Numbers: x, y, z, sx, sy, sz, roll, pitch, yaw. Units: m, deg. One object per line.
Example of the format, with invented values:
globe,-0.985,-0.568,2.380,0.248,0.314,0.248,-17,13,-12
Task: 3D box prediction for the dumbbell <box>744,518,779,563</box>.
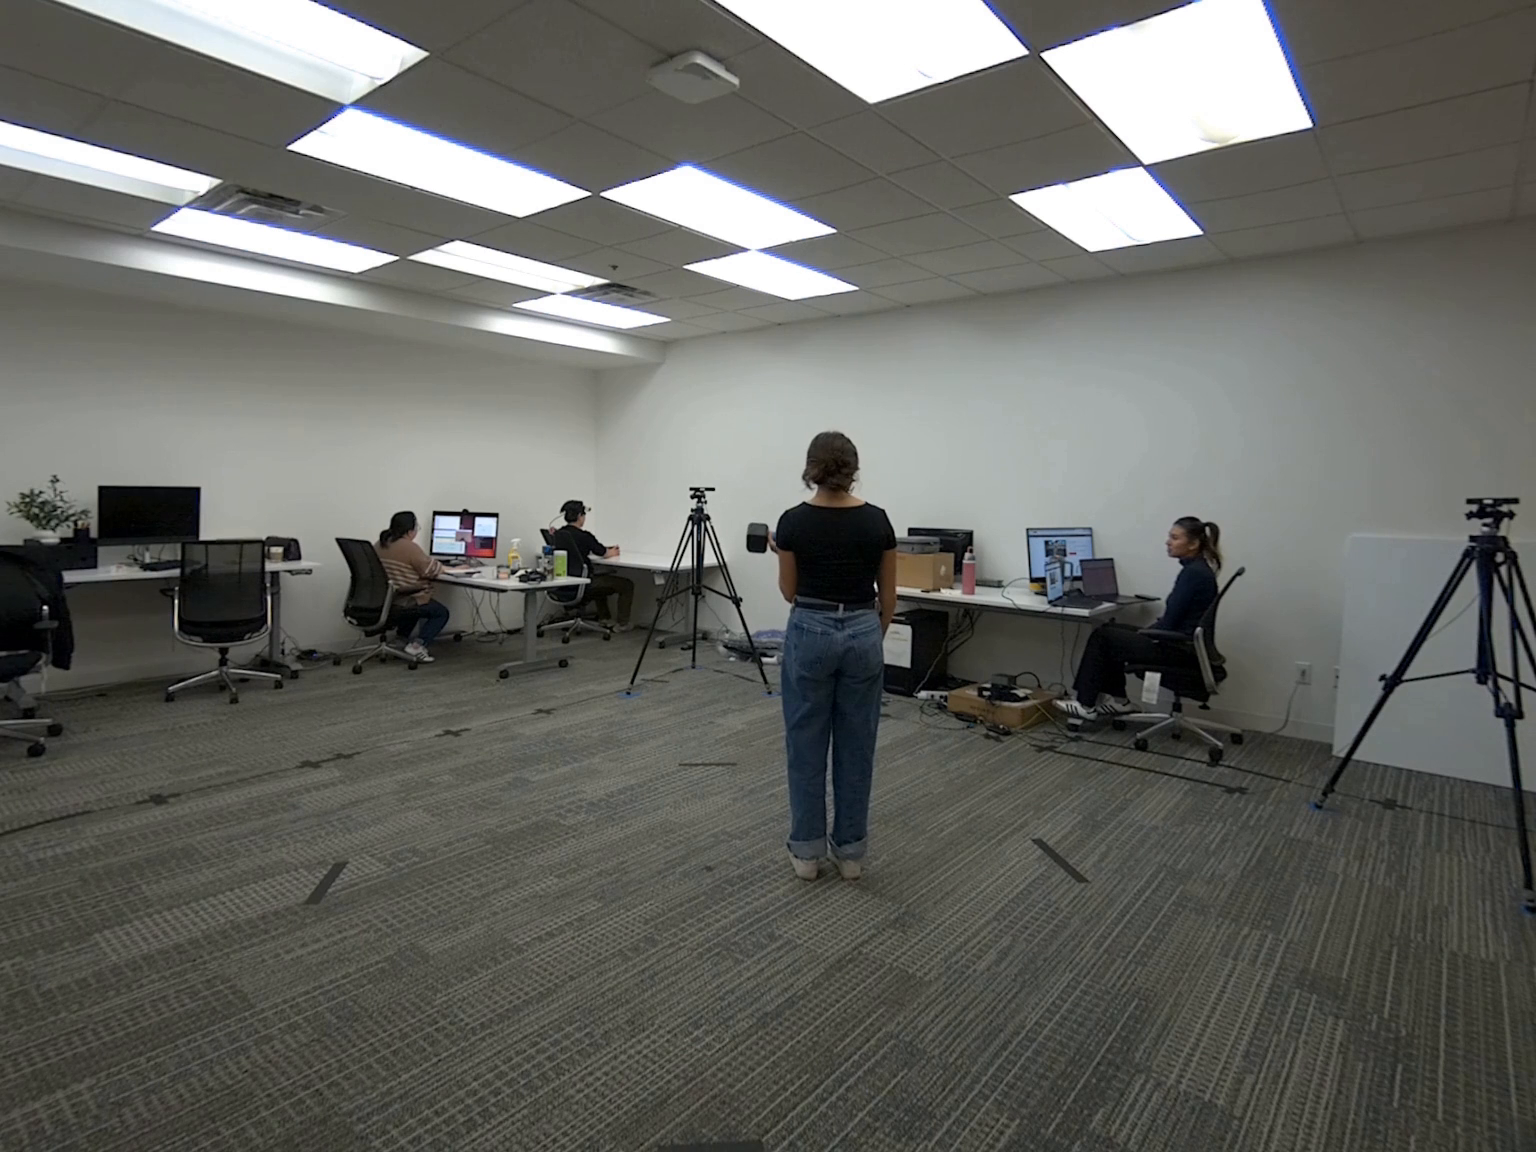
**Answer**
dumbbell,0.060,-0.135,3.295,0.296,0.126,0.105,4,-41,6
